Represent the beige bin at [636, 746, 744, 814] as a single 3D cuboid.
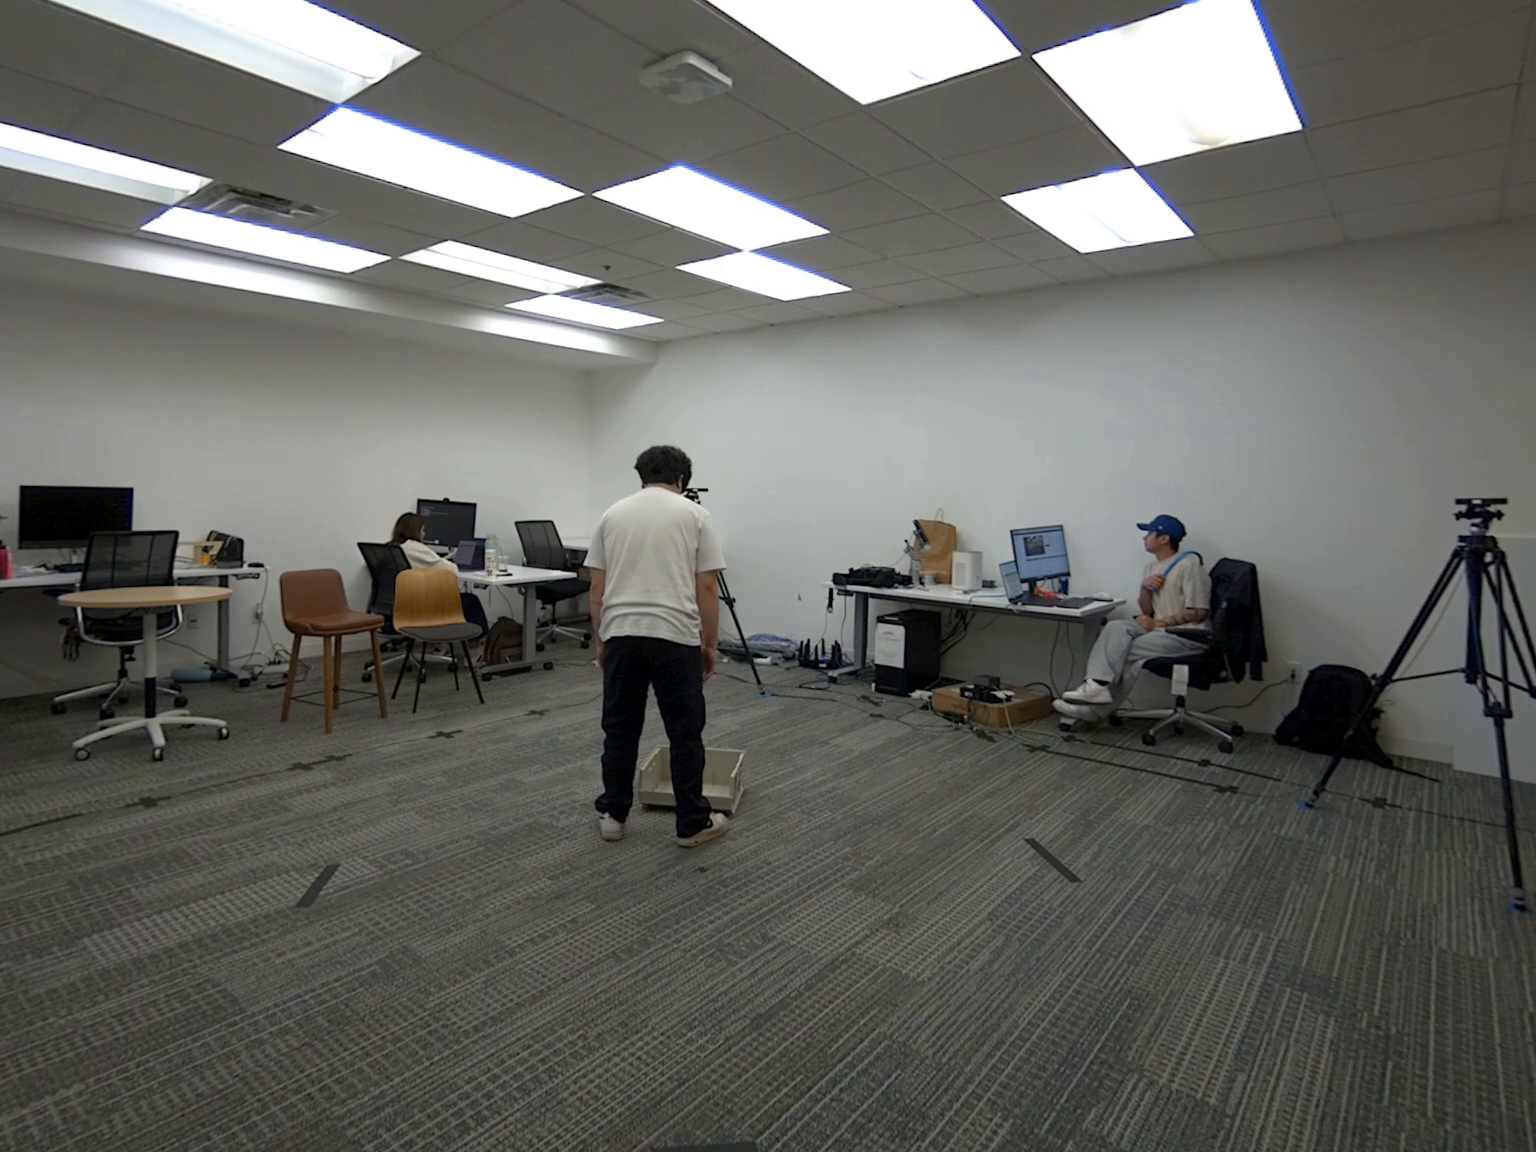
[{"bbox_3d":[-0.344,0.908,3.806,0.426,0.188,0.375,1,4,7],"label":"beige bin"}]
